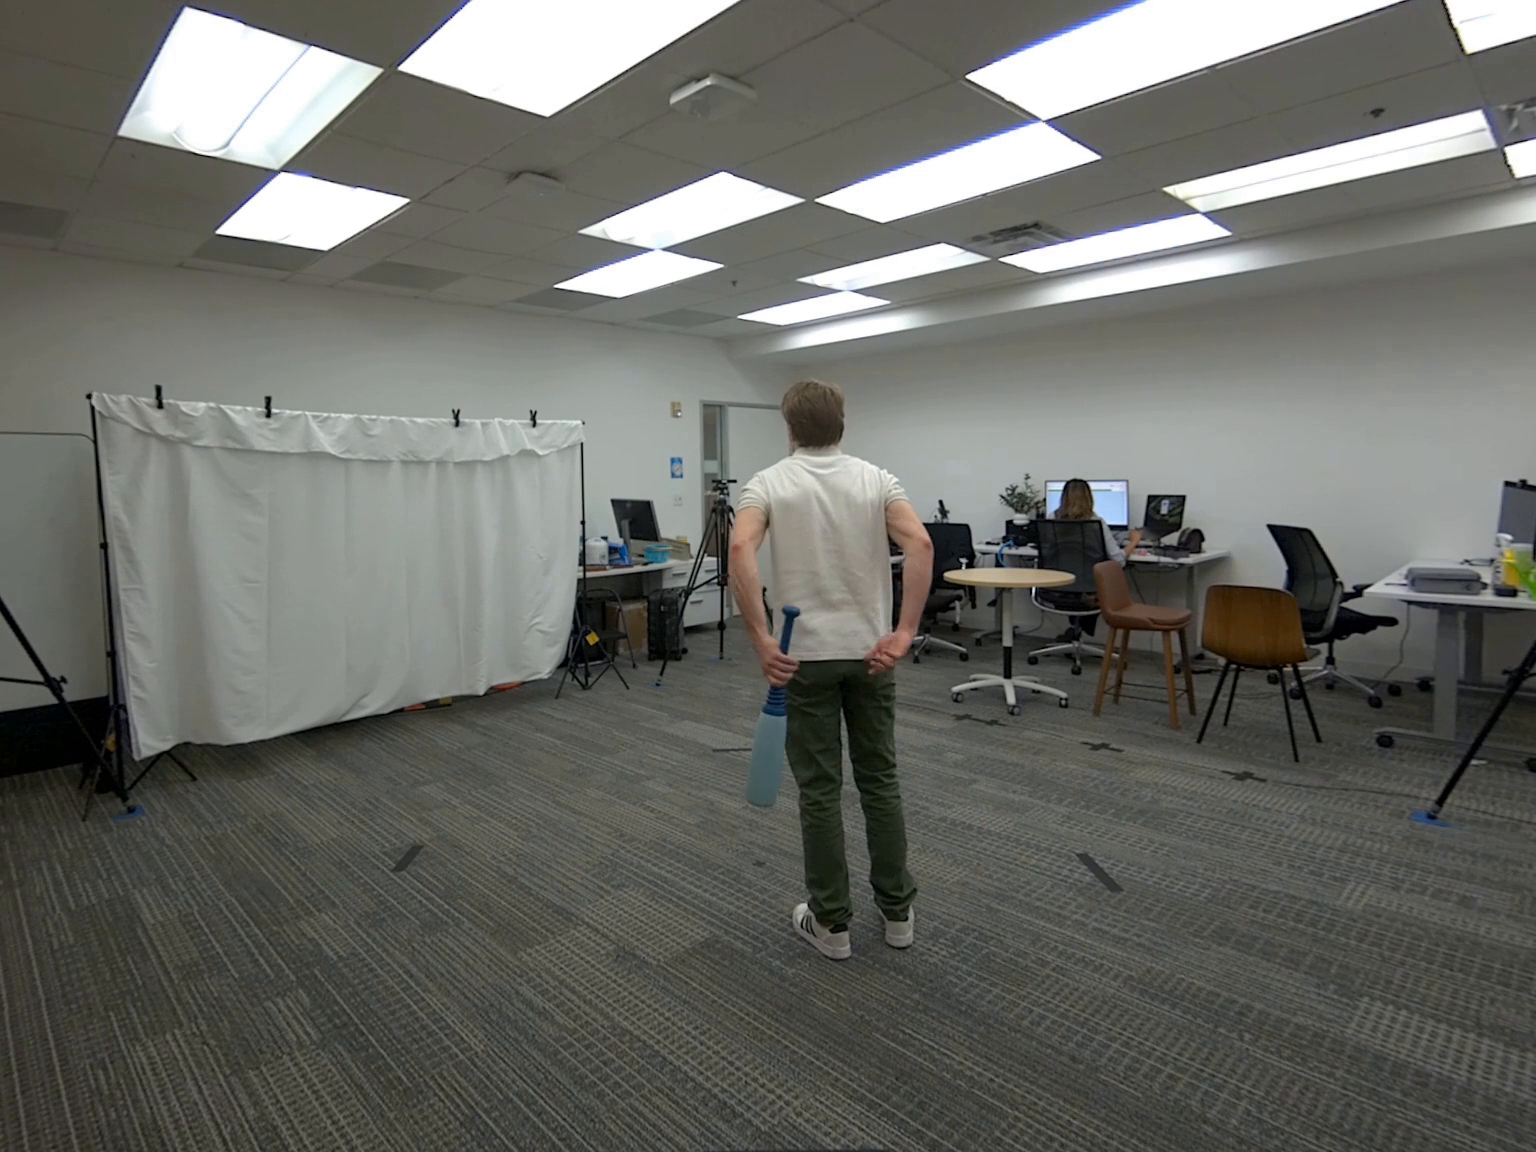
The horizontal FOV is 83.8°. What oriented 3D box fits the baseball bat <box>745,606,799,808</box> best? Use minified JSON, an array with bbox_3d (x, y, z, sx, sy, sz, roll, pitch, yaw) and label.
[{"bbox_3d":[0.005,0.349,2.311,0.089,0.542,0.089,9,2,-2],"label":"baseball bat"}]
